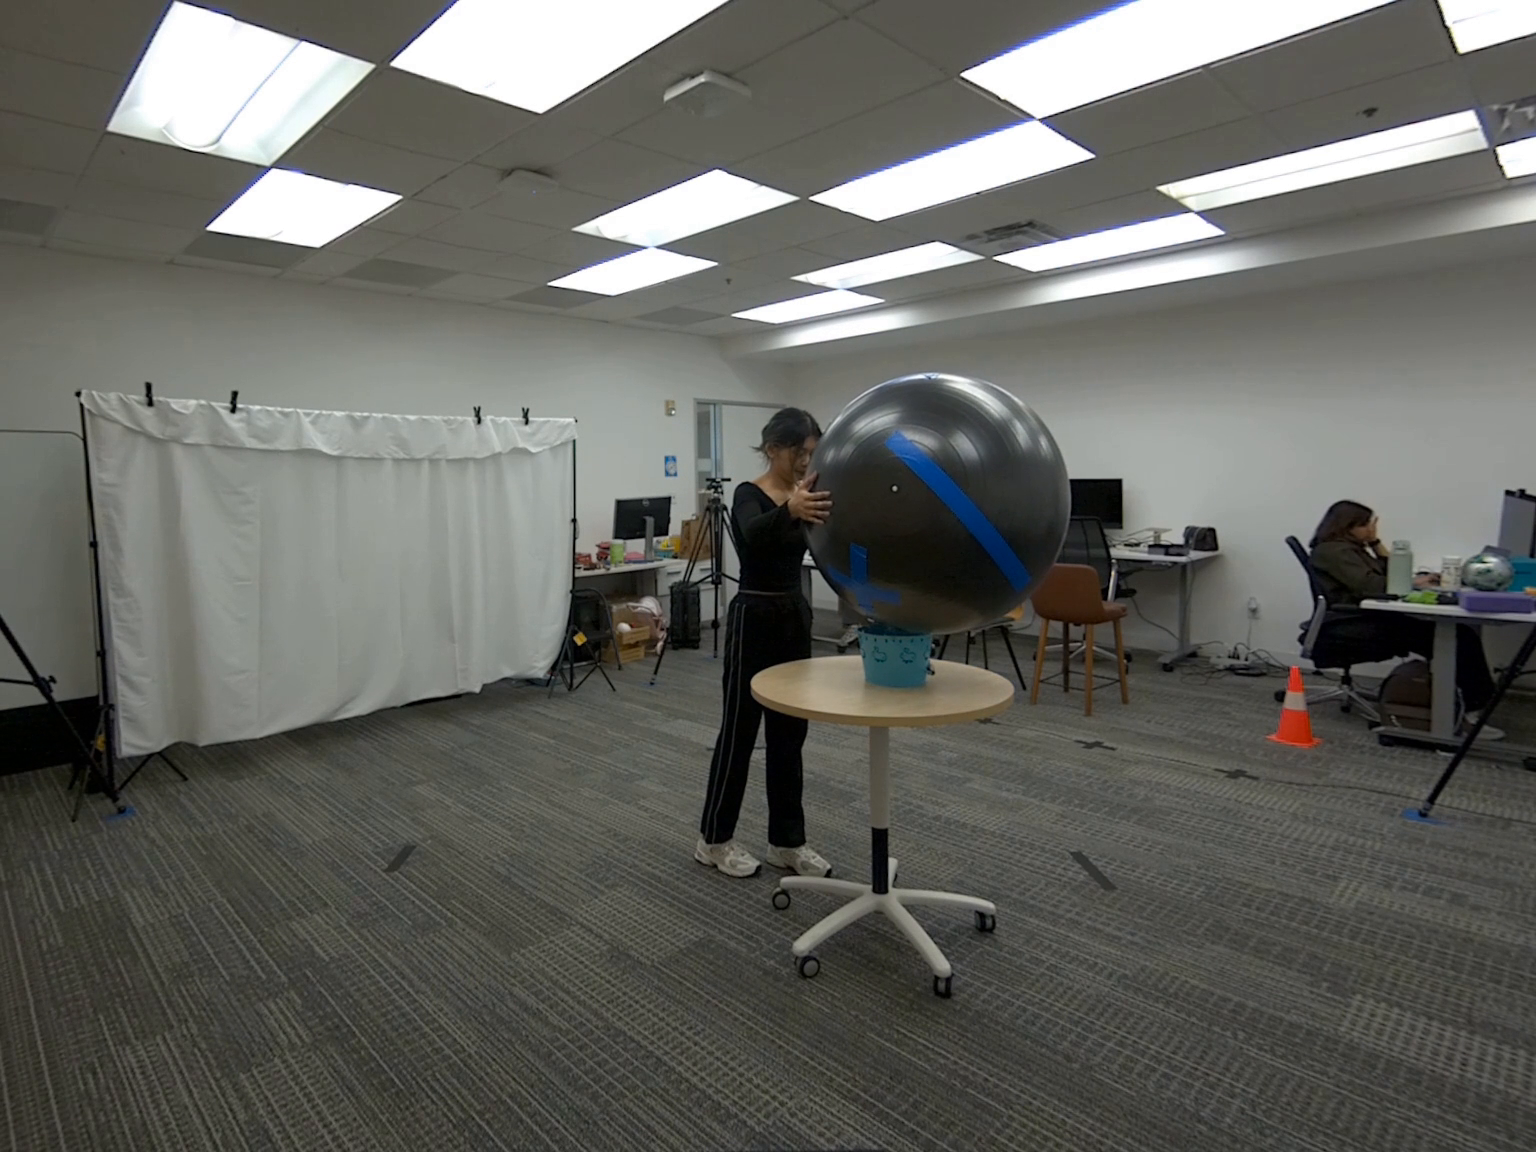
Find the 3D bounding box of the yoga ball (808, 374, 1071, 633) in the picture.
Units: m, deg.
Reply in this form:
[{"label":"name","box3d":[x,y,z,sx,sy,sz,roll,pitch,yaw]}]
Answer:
[{"label":"yoga ball","box3d":[0.482,-0.205,2.483,0.757,0.755,0.762,-1,5,-2]}]
